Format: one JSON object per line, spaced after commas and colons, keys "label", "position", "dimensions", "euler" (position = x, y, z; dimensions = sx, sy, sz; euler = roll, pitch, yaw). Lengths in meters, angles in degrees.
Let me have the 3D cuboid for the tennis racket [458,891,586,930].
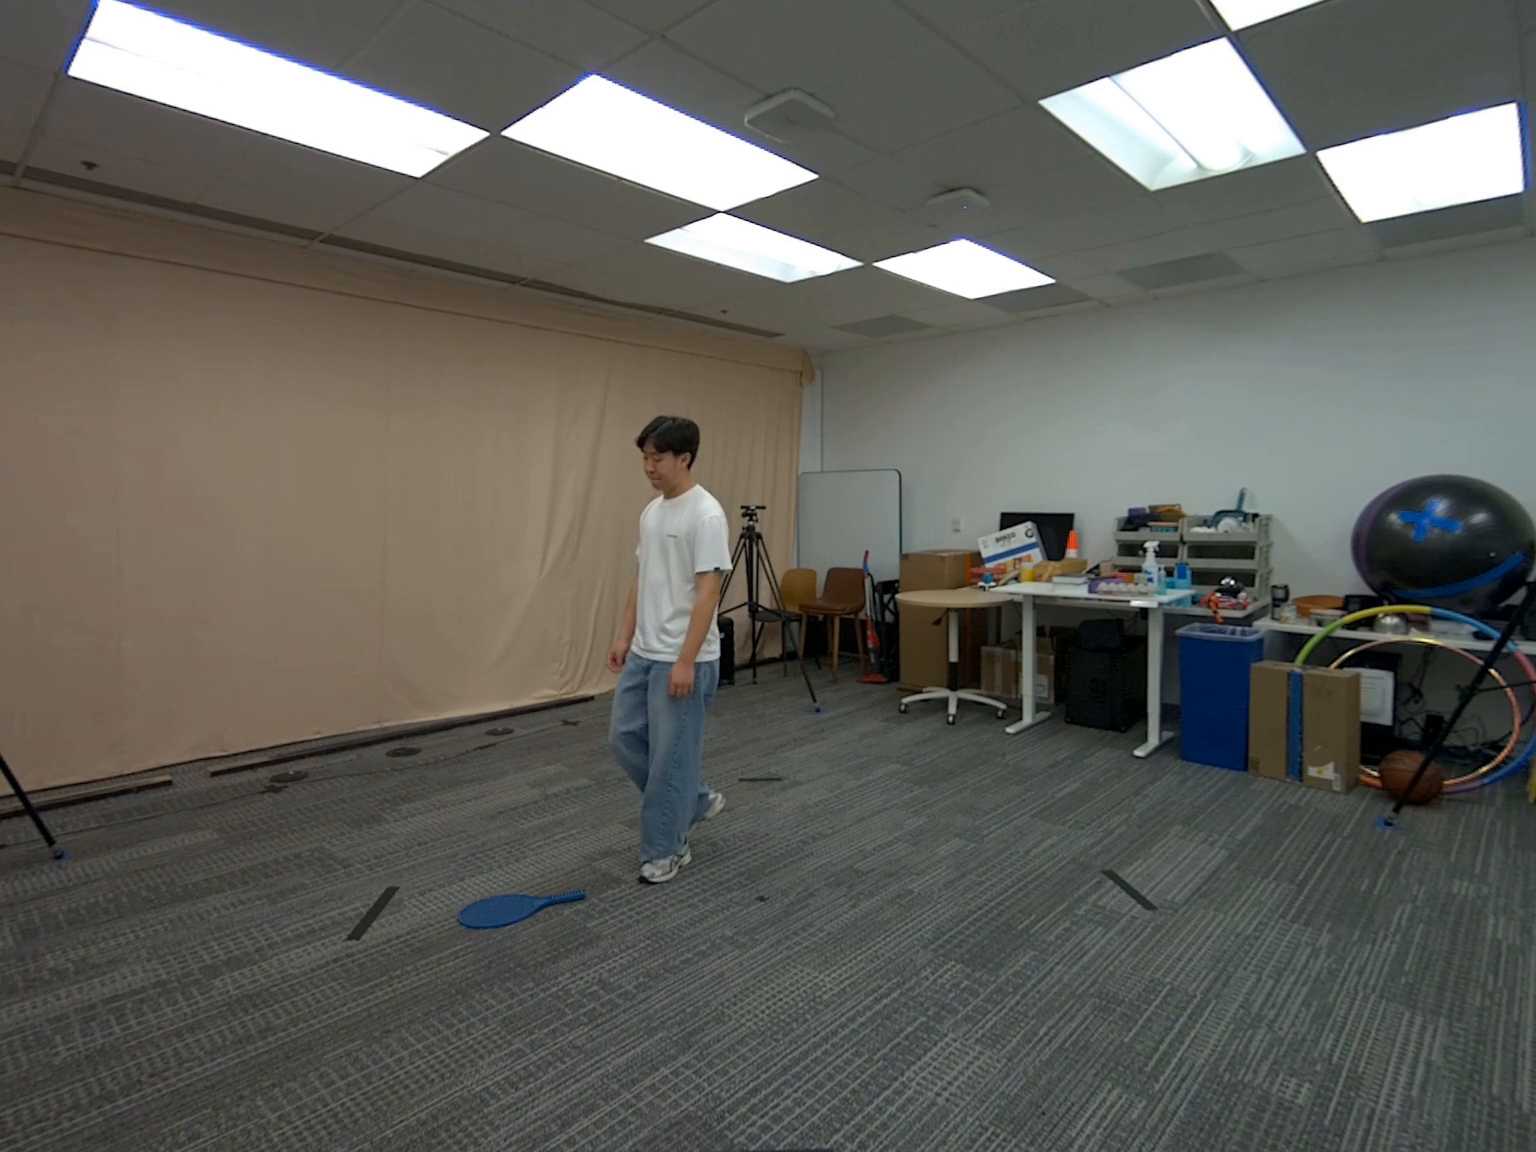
{"label": "tennis racket", "position": [-0.851, 1.142, 2.914], "dimensions": [0.425, 0.031, 0.218], "euler": [-4, 6, -19]}
